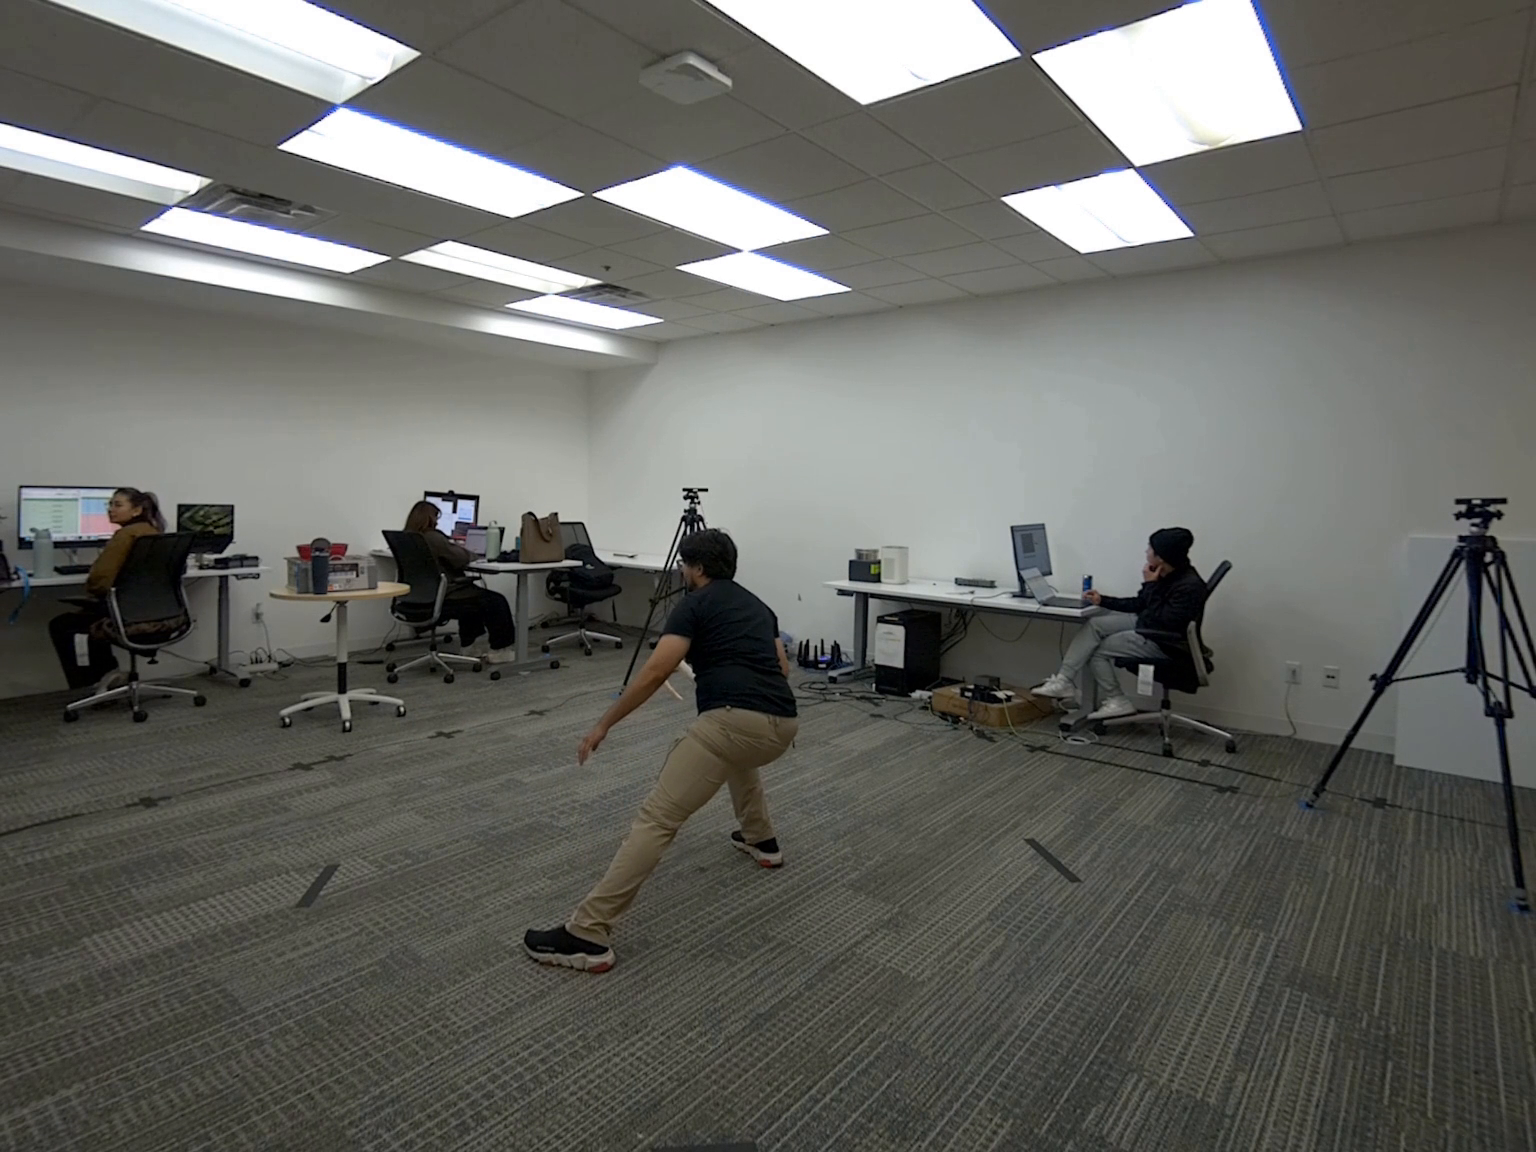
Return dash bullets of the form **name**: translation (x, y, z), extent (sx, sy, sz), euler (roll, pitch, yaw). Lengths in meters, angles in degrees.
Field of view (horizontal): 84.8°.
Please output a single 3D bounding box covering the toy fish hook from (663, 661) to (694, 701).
- **toy fish hook**: translation (-0.322, 0.469, 3.565), extent (0.047, 0.219, 0.527), euler (-27, 44, -37)
